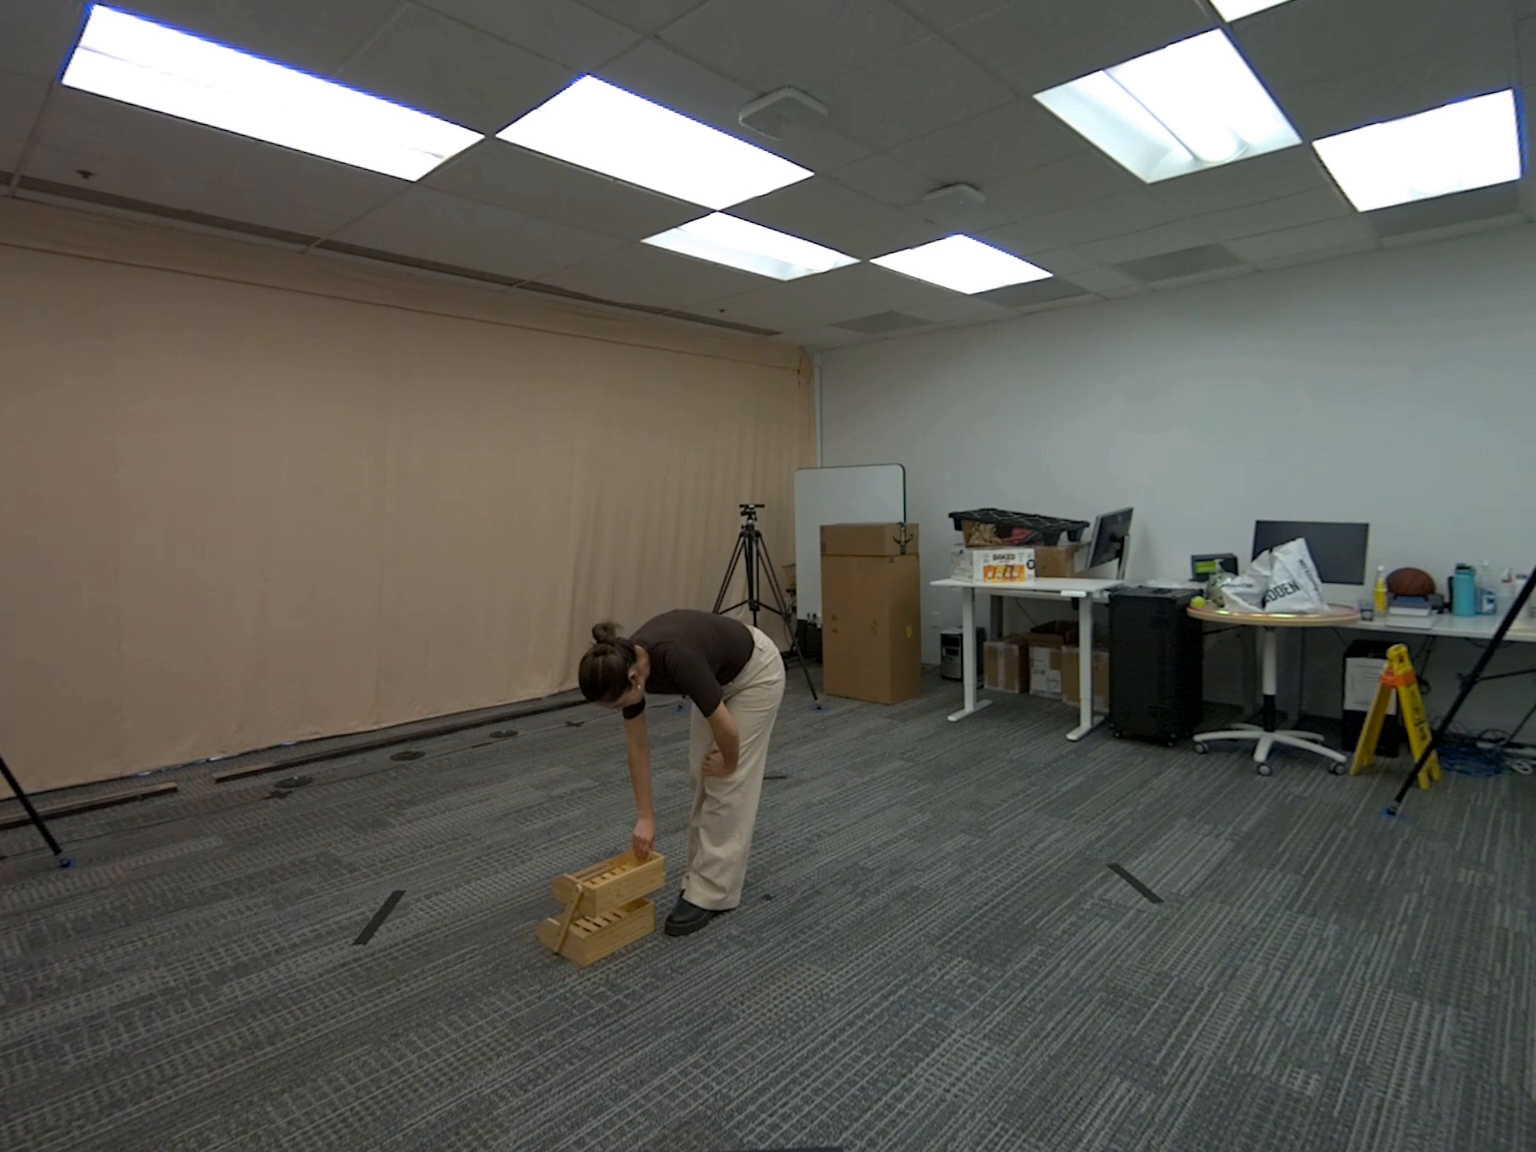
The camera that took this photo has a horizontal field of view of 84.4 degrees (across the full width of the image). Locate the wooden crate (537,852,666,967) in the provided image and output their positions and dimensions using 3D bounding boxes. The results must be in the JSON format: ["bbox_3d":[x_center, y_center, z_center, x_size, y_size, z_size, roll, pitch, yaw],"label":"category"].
[{"bbox_3d":[-0.542,1.039,2.719,0.312,0.272,0.315,3,6,41],"label":"wooden crate"}]
